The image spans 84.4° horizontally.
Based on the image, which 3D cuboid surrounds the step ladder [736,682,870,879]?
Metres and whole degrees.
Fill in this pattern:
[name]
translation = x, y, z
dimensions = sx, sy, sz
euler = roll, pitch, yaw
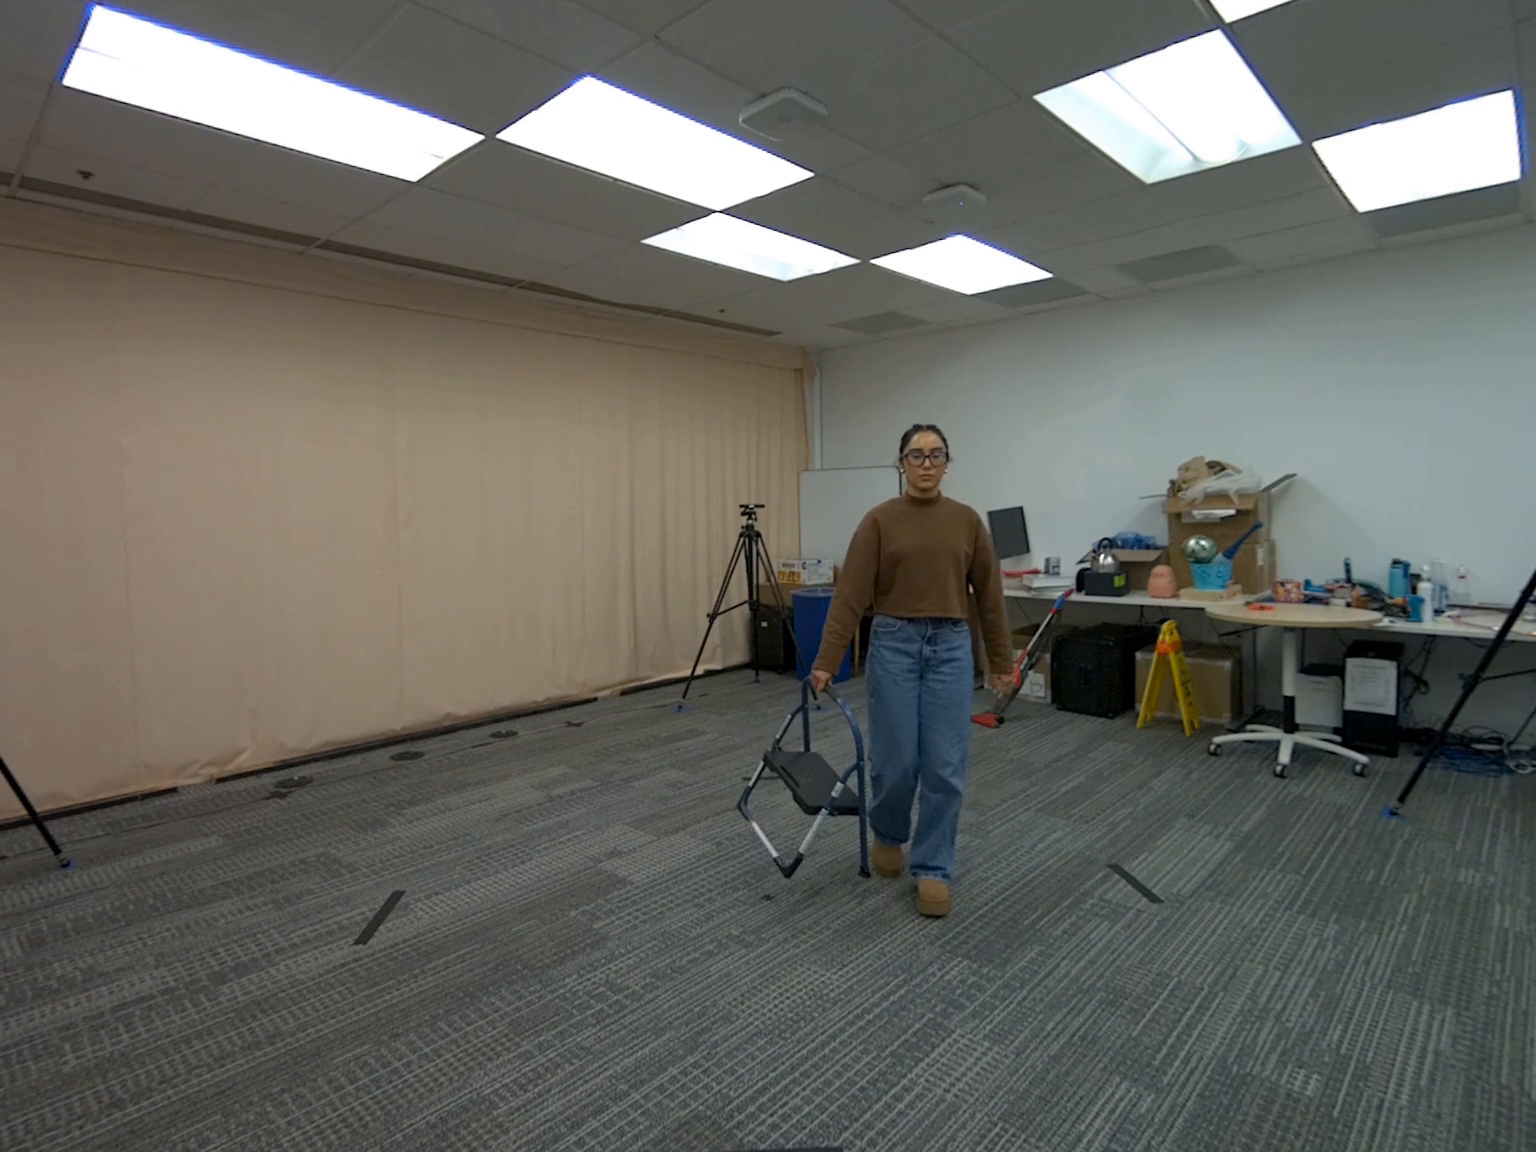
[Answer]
[step ladder]
translation = 0.200, 0.671, 2.961
dimensions = 0.339, 0.603, 0.445
euler = 7, 15, -29
